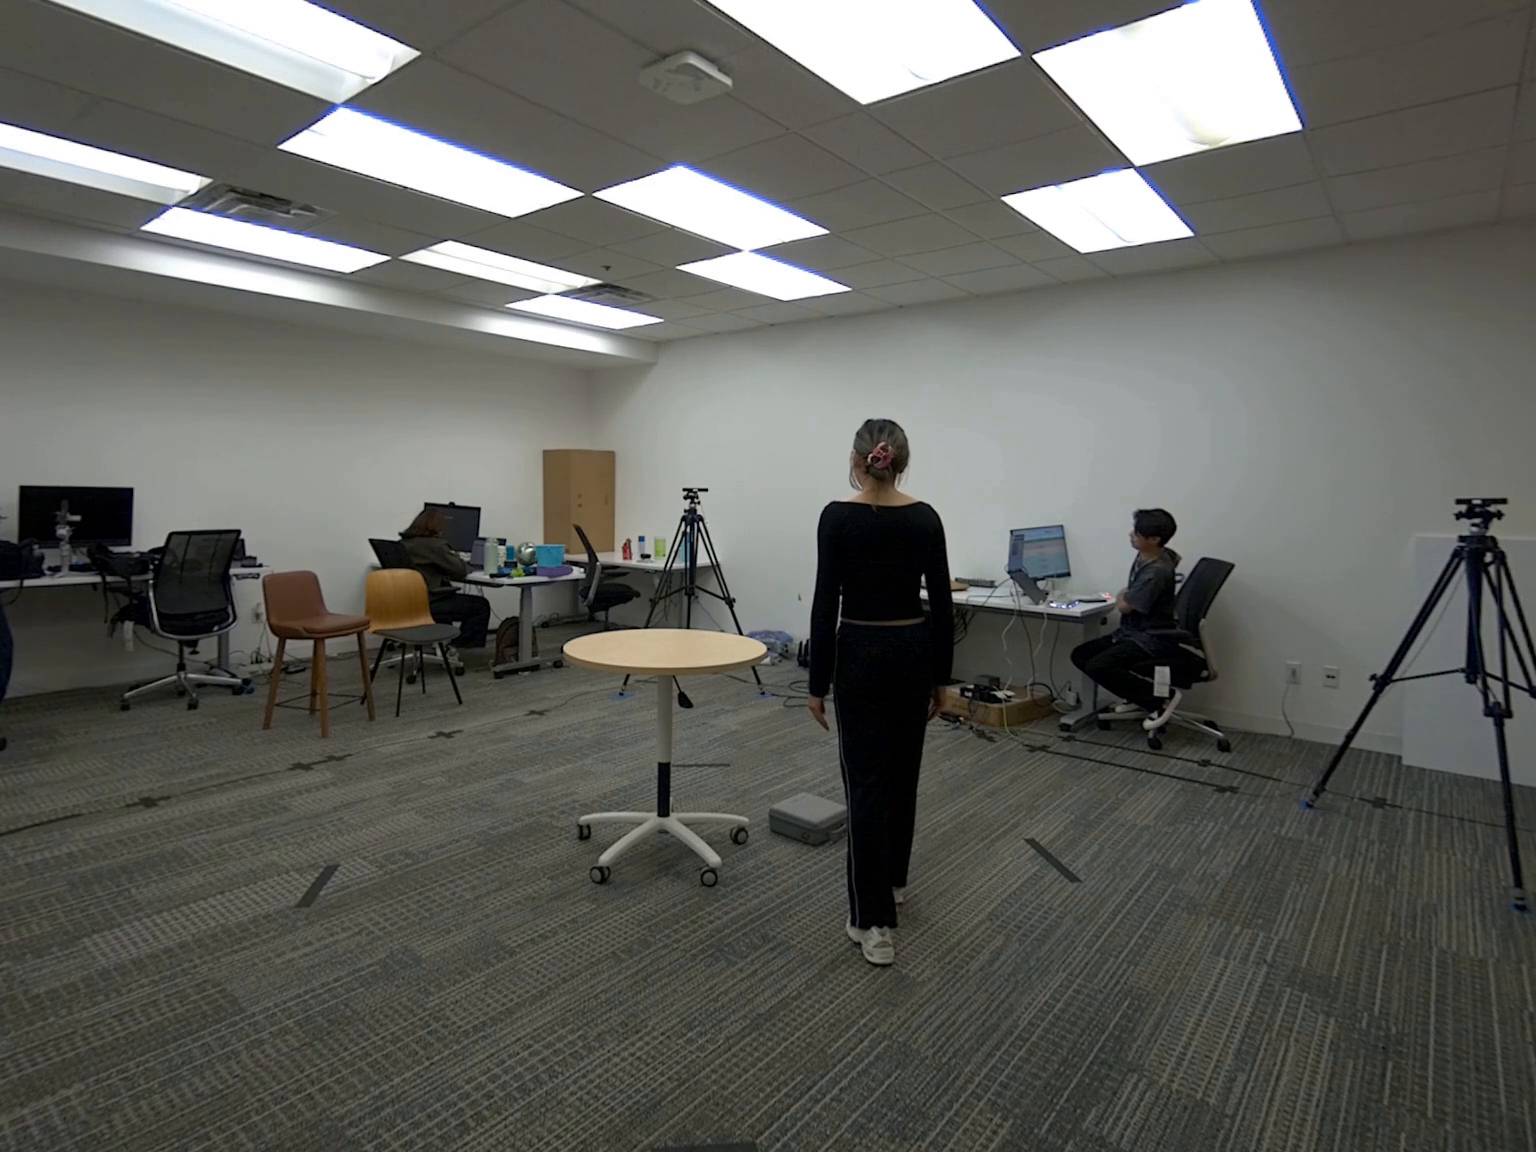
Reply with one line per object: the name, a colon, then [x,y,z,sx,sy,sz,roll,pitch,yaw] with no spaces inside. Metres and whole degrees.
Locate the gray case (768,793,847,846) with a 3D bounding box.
gray case: [0.160,0.982,3.487,0.269,0.104,0.249,7,7,39]
